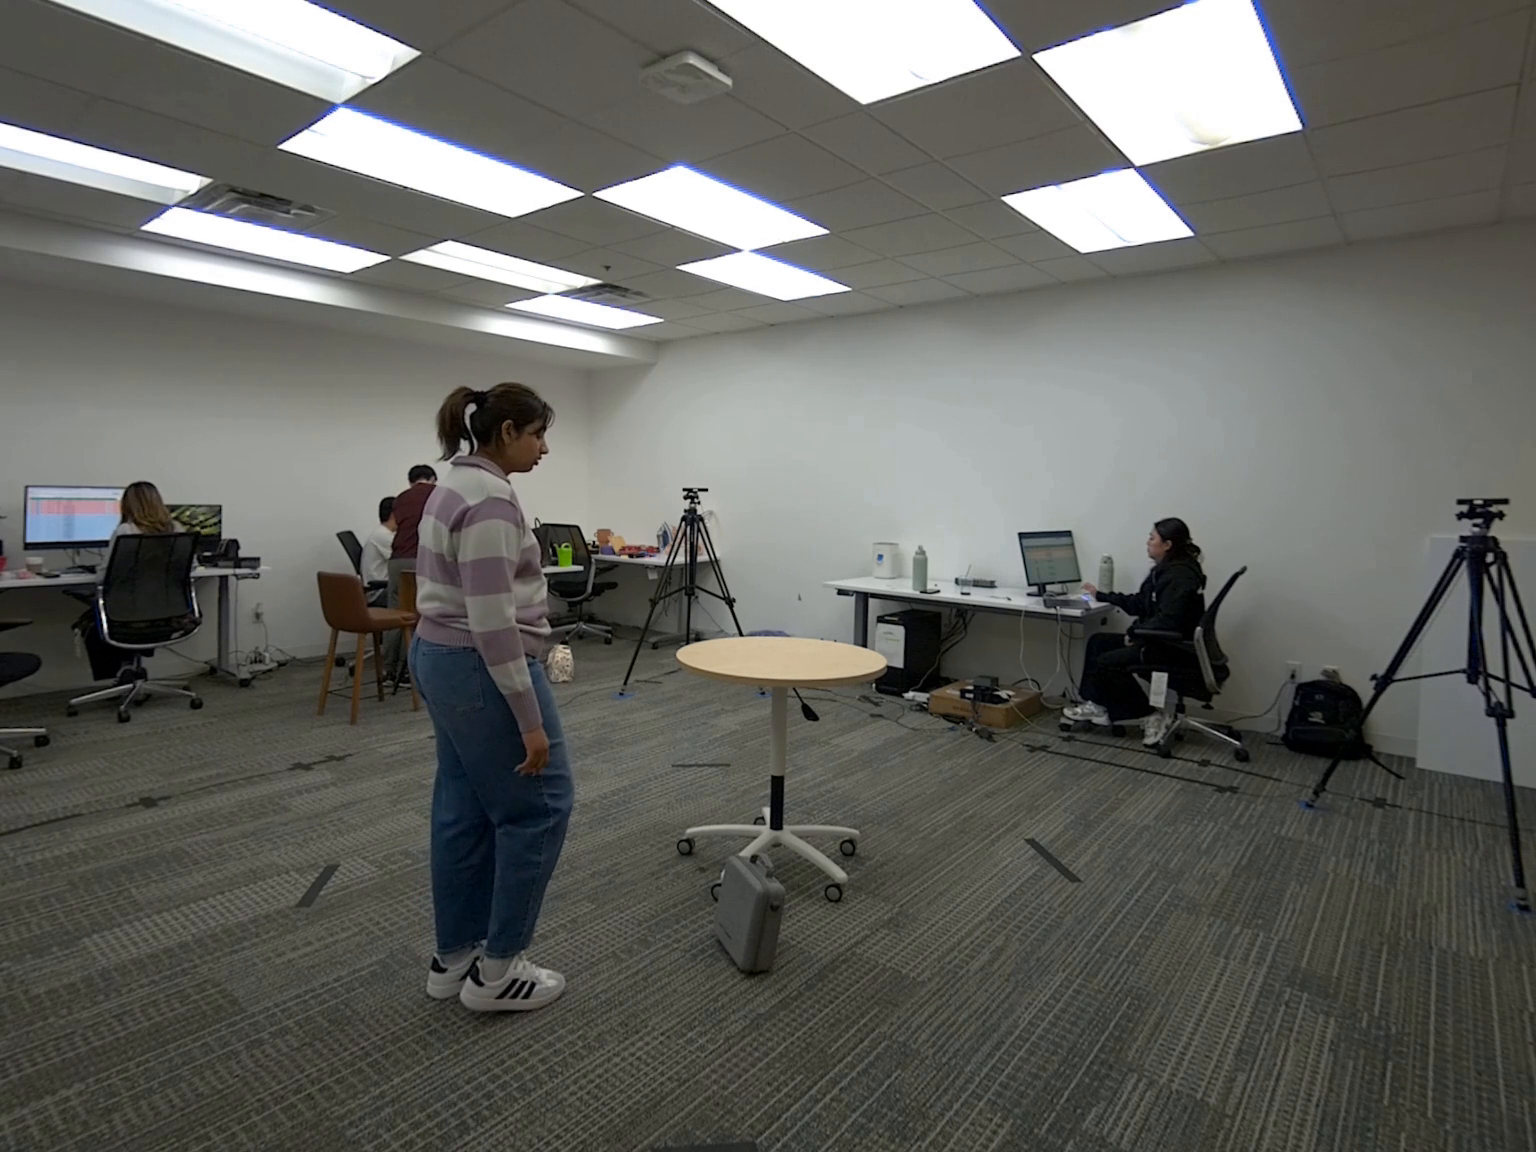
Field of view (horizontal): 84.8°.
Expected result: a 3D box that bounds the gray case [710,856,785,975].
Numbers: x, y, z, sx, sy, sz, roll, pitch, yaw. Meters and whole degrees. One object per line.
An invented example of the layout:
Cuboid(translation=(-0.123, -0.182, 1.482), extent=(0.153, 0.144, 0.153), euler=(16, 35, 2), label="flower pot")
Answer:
Cuboid(translation=(-0.068, 0.990, 2.545), extent=(0.102, 0.261, 0.263), euler=(8, 0, -24), label="gray case")
